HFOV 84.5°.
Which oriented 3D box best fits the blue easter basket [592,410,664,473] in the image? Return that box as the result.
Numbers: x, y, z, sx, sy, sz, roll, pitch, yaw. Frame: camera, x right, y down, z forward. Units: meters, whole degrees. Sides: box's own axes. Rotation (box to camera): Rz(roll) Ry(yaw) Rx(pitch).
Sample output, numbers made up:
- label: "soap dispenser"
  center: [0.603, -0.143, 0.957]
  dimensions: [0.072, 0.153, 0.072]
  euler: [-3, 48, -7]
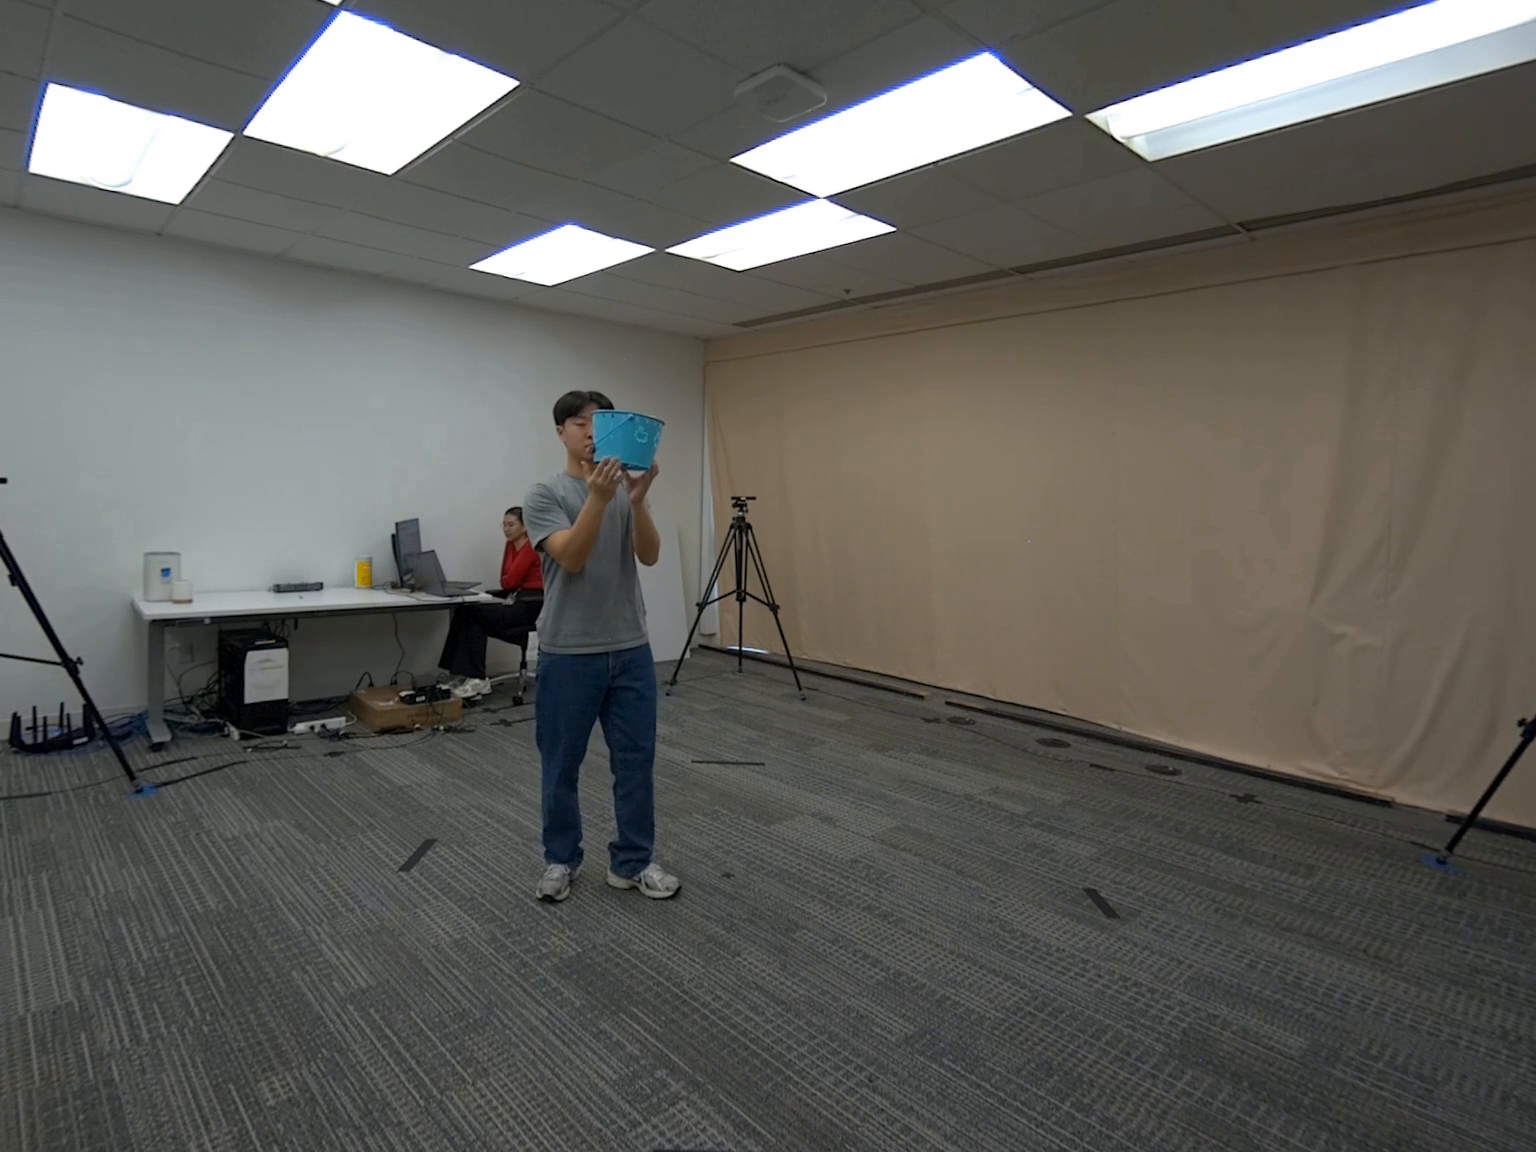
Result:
- label: "blue easter basket"
  center: [-0.457, -0.419, 2.628]
  dimensions: [0.243, 0.156, 0.243]
  euler: [8, 0, -1]
